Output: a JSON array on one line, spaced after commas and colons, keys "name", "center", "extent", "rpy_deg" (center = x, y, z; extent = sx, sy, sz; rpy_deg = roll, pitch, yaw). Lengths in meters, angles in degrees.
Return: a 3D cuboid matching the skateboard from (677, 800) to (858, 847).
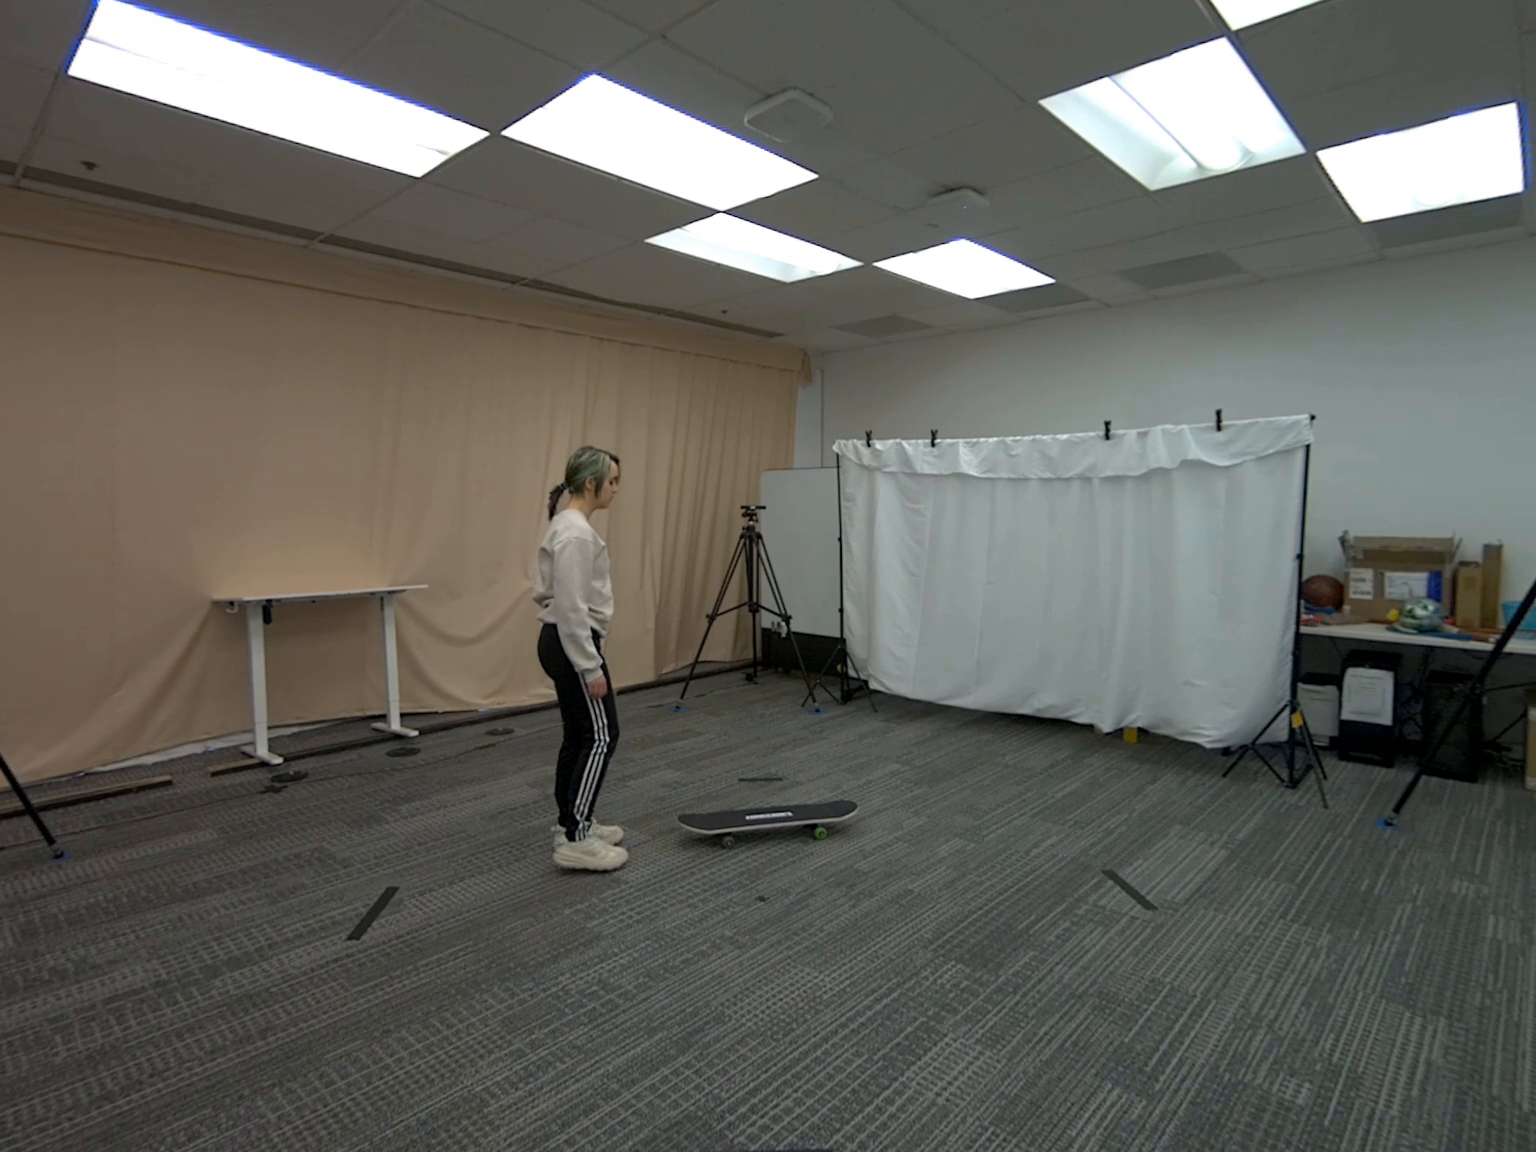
[{"name": "skateboard", "center": [0.016, 1.049, 3.548], "extent": [0.774, 0.110, 0.197], "rpy_deg": [-1, 5, -14]}]
